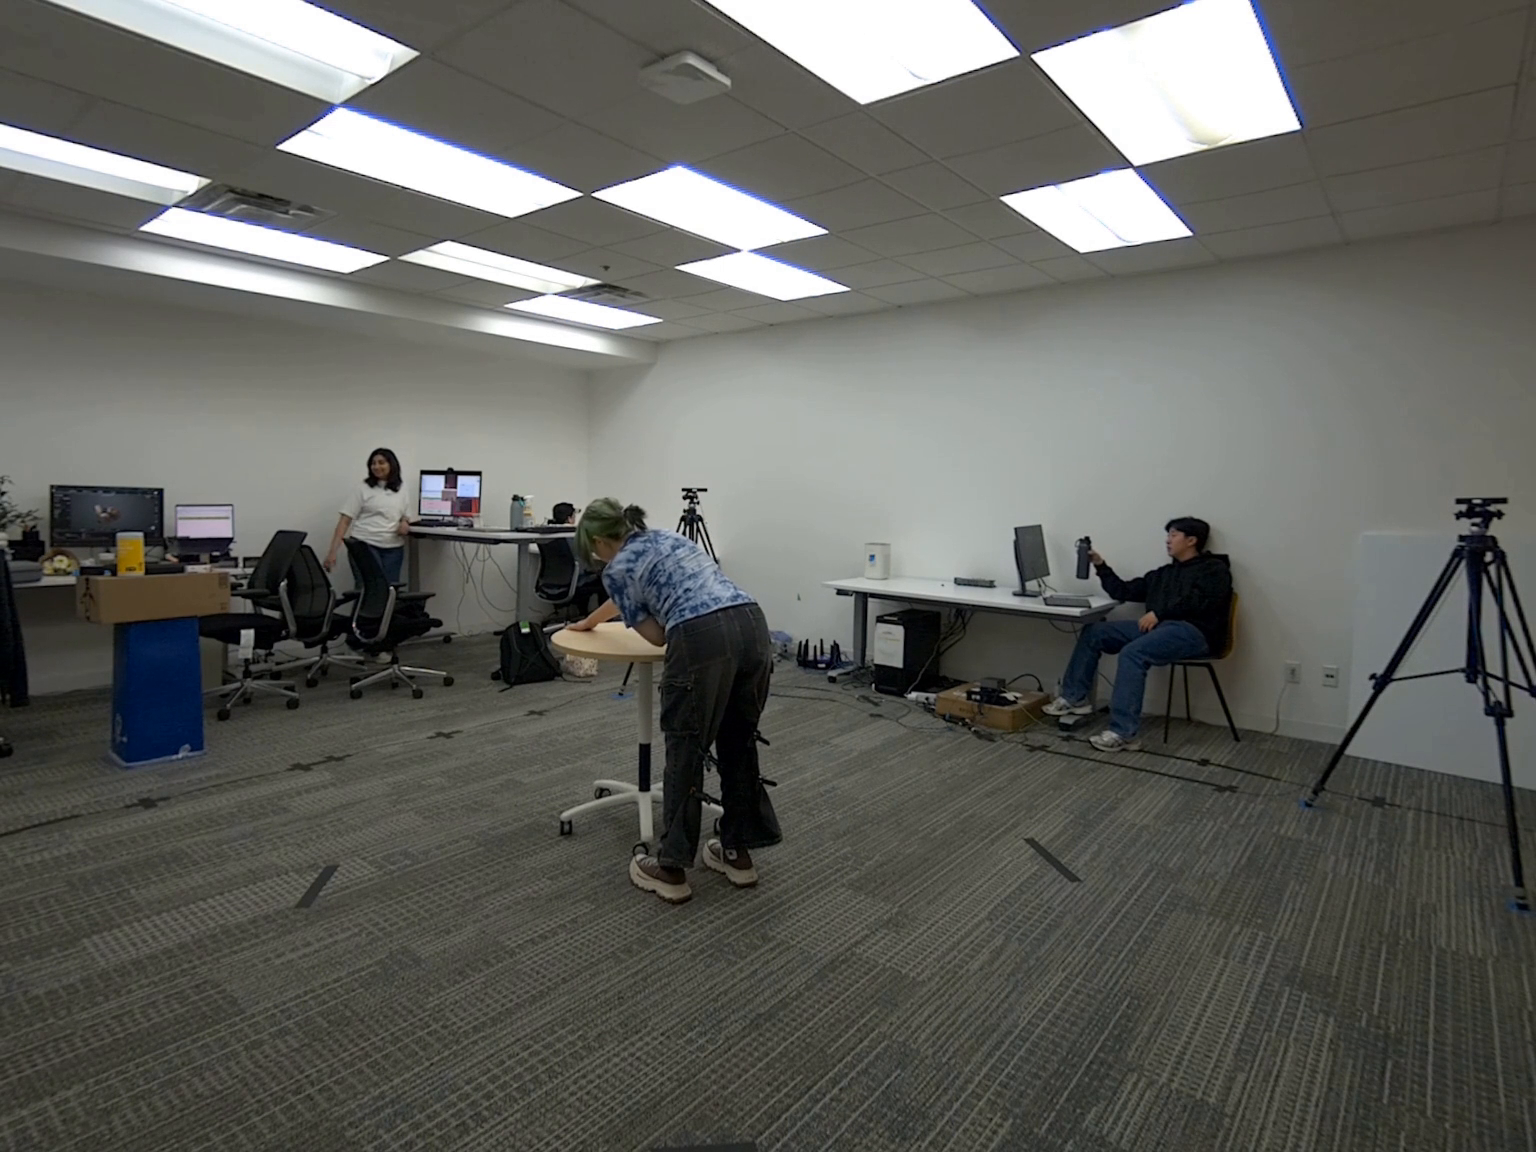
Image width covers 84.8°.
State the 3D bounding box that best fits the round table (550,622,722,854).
[{"bbox_3d":[-0.523,0.639,3.509,0.763,0.791,0.768,1,4,-2],"label":"round table"}]
